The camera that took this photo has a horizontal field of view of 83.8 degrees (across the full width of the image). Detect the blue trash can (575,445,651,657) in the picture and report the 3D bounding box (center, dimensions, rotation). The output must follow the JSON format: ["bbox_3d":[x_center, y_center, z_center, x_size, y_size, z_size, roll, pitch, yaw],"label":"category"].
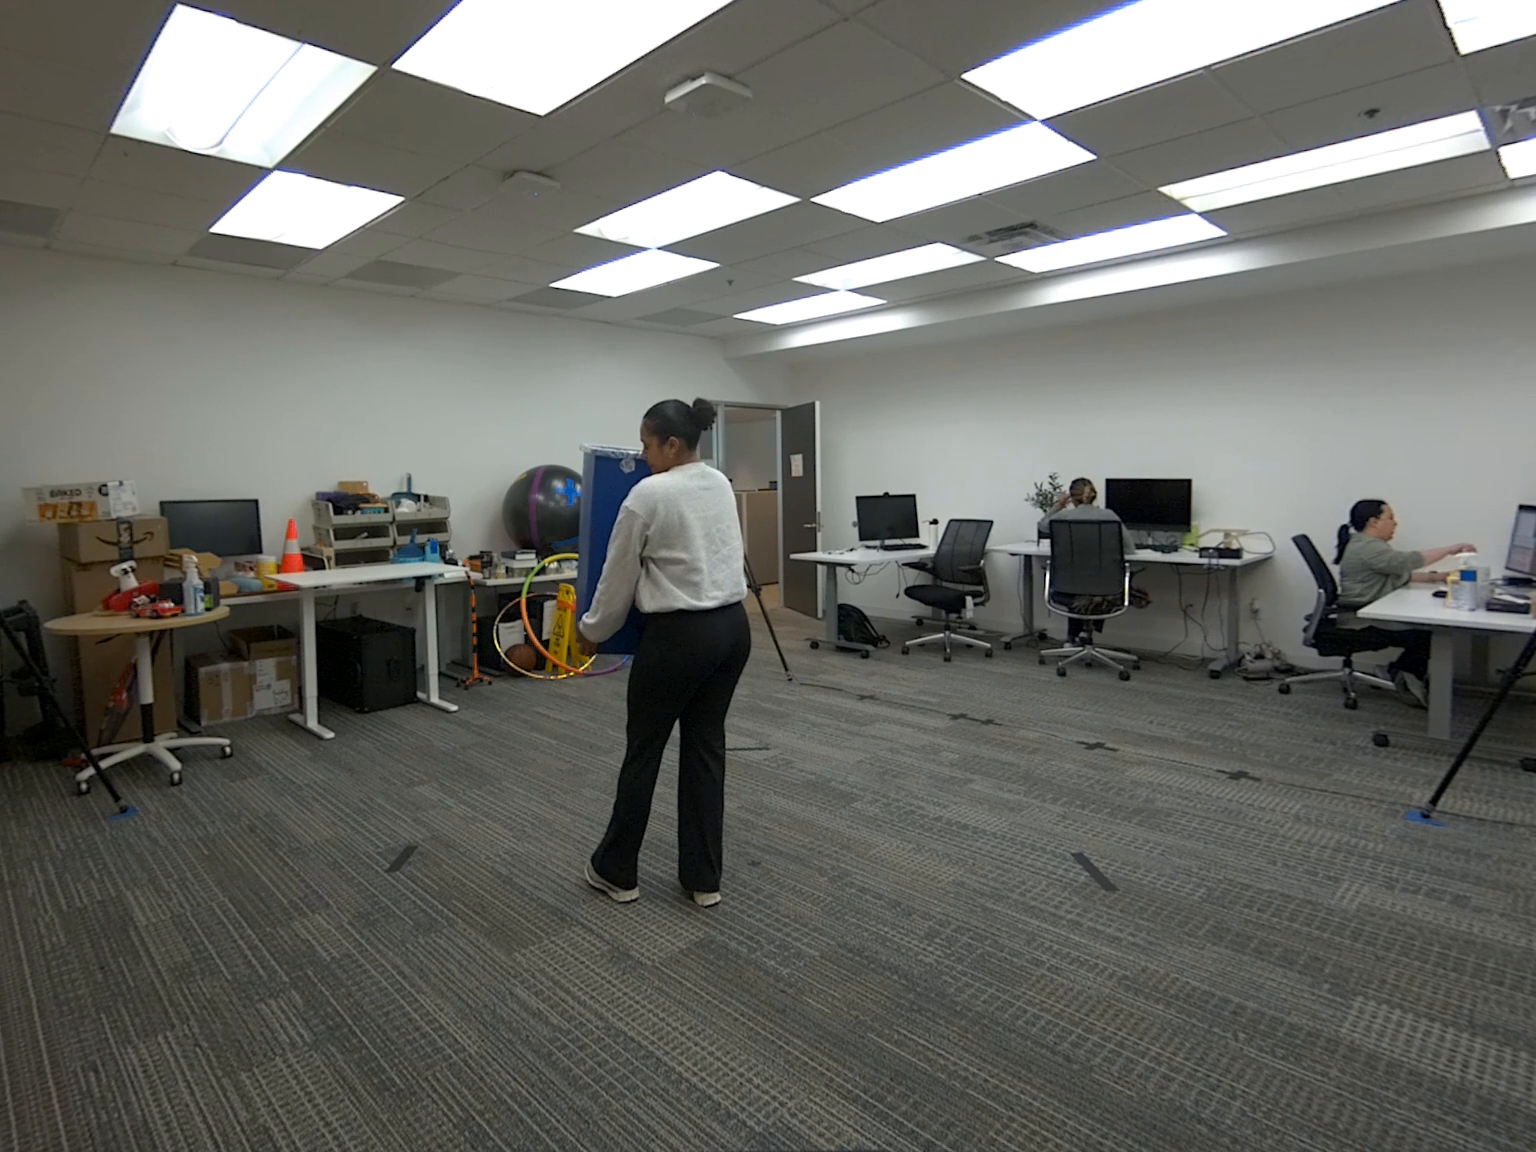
[{"bbox_3d":[-0.497,-0.106,3.106,0.366,0.709,0.388,3,8,-22],"label":"blue trash can"}]
